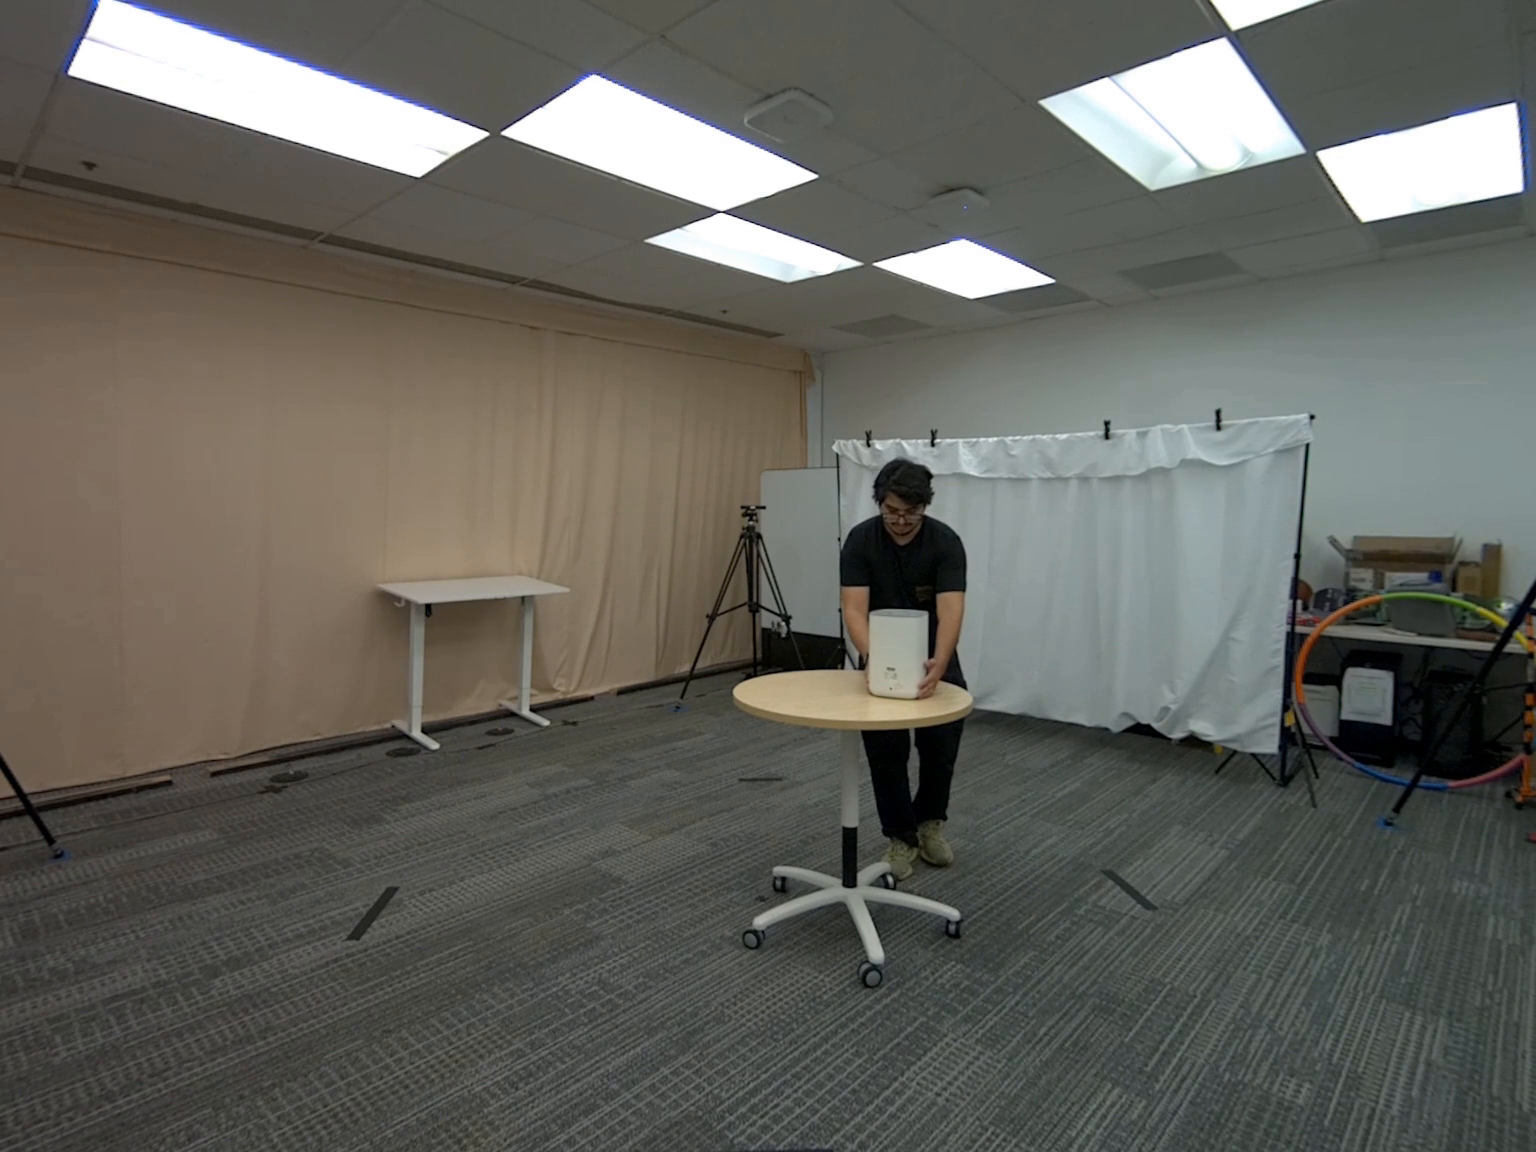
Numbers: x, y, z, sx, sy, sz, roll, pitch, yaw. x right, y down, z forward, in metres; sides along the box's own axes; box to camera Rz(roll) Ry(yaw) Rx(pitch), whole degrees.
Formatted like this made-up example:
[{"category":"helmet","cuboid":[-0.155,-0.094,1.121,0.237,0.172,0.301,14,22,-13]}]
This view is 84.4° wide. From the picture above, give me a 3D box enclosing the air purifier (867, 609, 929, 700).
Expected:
[{"category":"air purifier","cuboid":[0.418,0.245,2.700,0.176,0.265,0.167,1,4,28]}]
